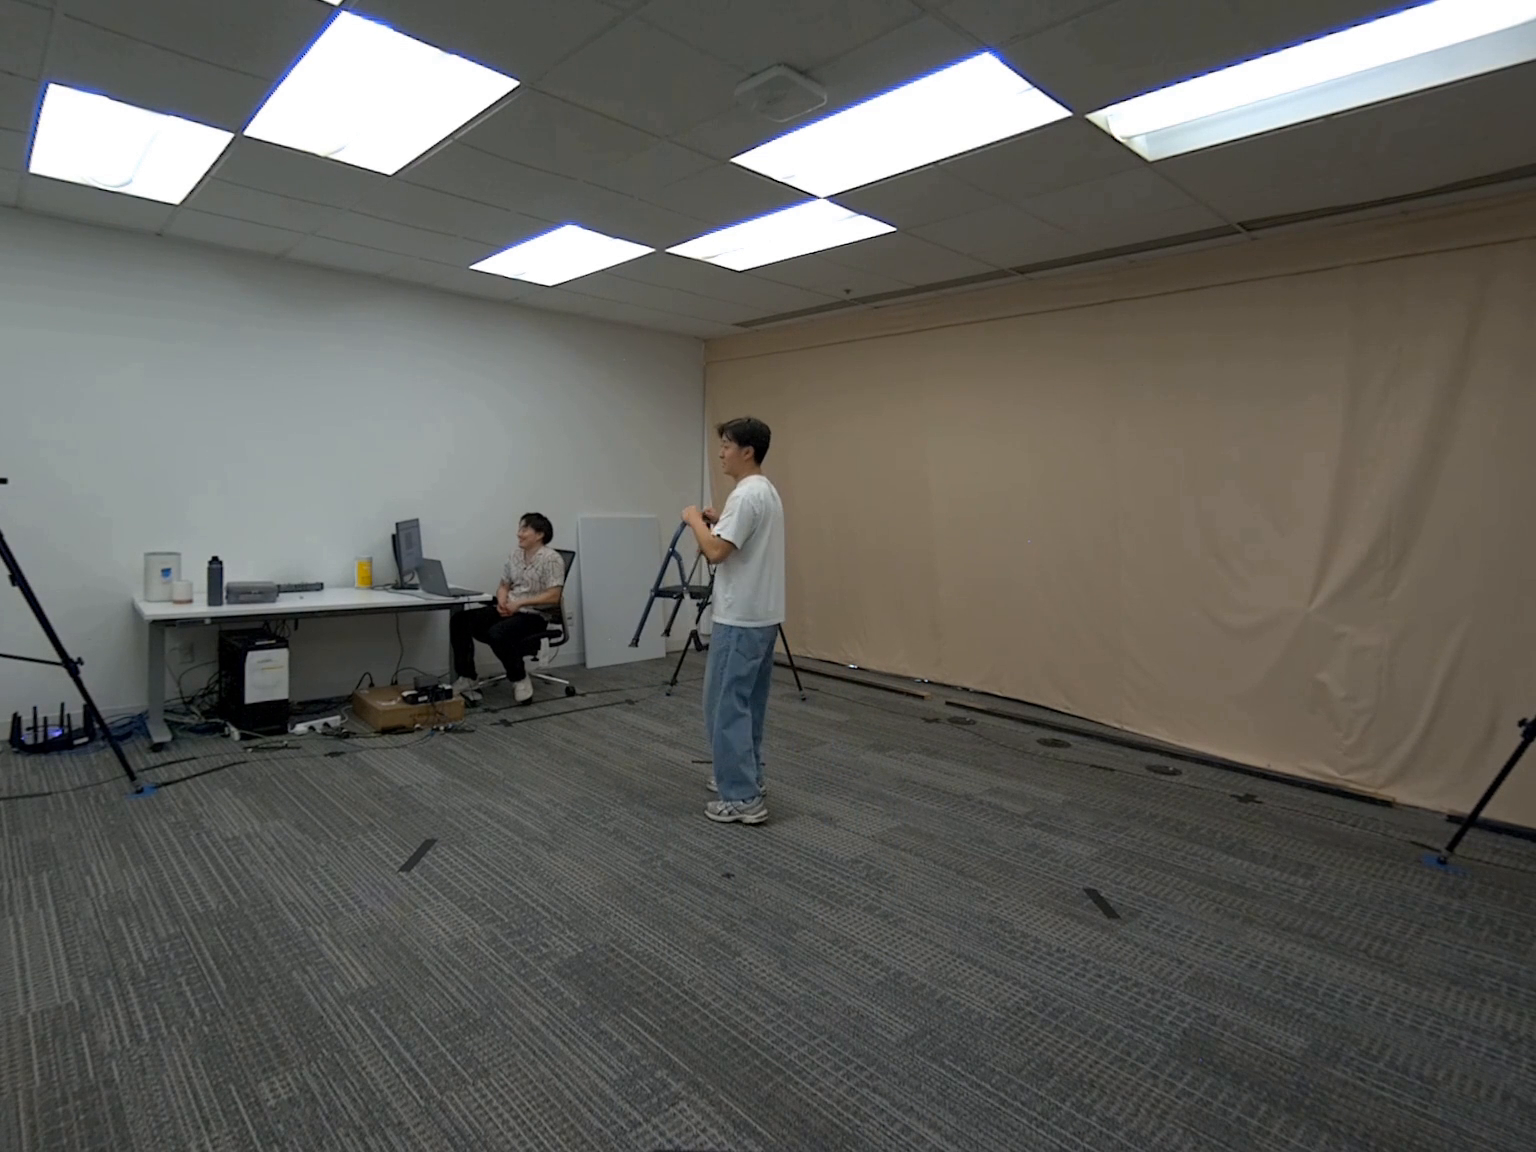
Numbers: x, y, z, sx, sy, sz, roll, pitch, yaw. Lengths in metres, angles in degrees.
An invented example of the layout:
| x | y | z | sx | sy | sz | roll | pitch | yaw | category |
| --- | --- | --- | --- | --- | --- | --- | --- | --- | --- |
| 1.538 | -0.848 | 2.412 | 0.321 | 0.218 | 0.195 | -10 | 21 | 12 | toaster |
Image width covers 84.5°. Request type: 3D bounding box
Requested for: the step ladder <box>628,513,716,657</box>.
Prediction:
| x | y | z | sx | sy | sz | roll | pitch | yaw | category |
| --- | --- | --- | --- | --- | --- | --- | --- | --- | --- |
| -0.392 | 0.019 | 3.897 | 0.354 | 0.605 | 0.426 | 2 | 3 | 15 | step ladder |
